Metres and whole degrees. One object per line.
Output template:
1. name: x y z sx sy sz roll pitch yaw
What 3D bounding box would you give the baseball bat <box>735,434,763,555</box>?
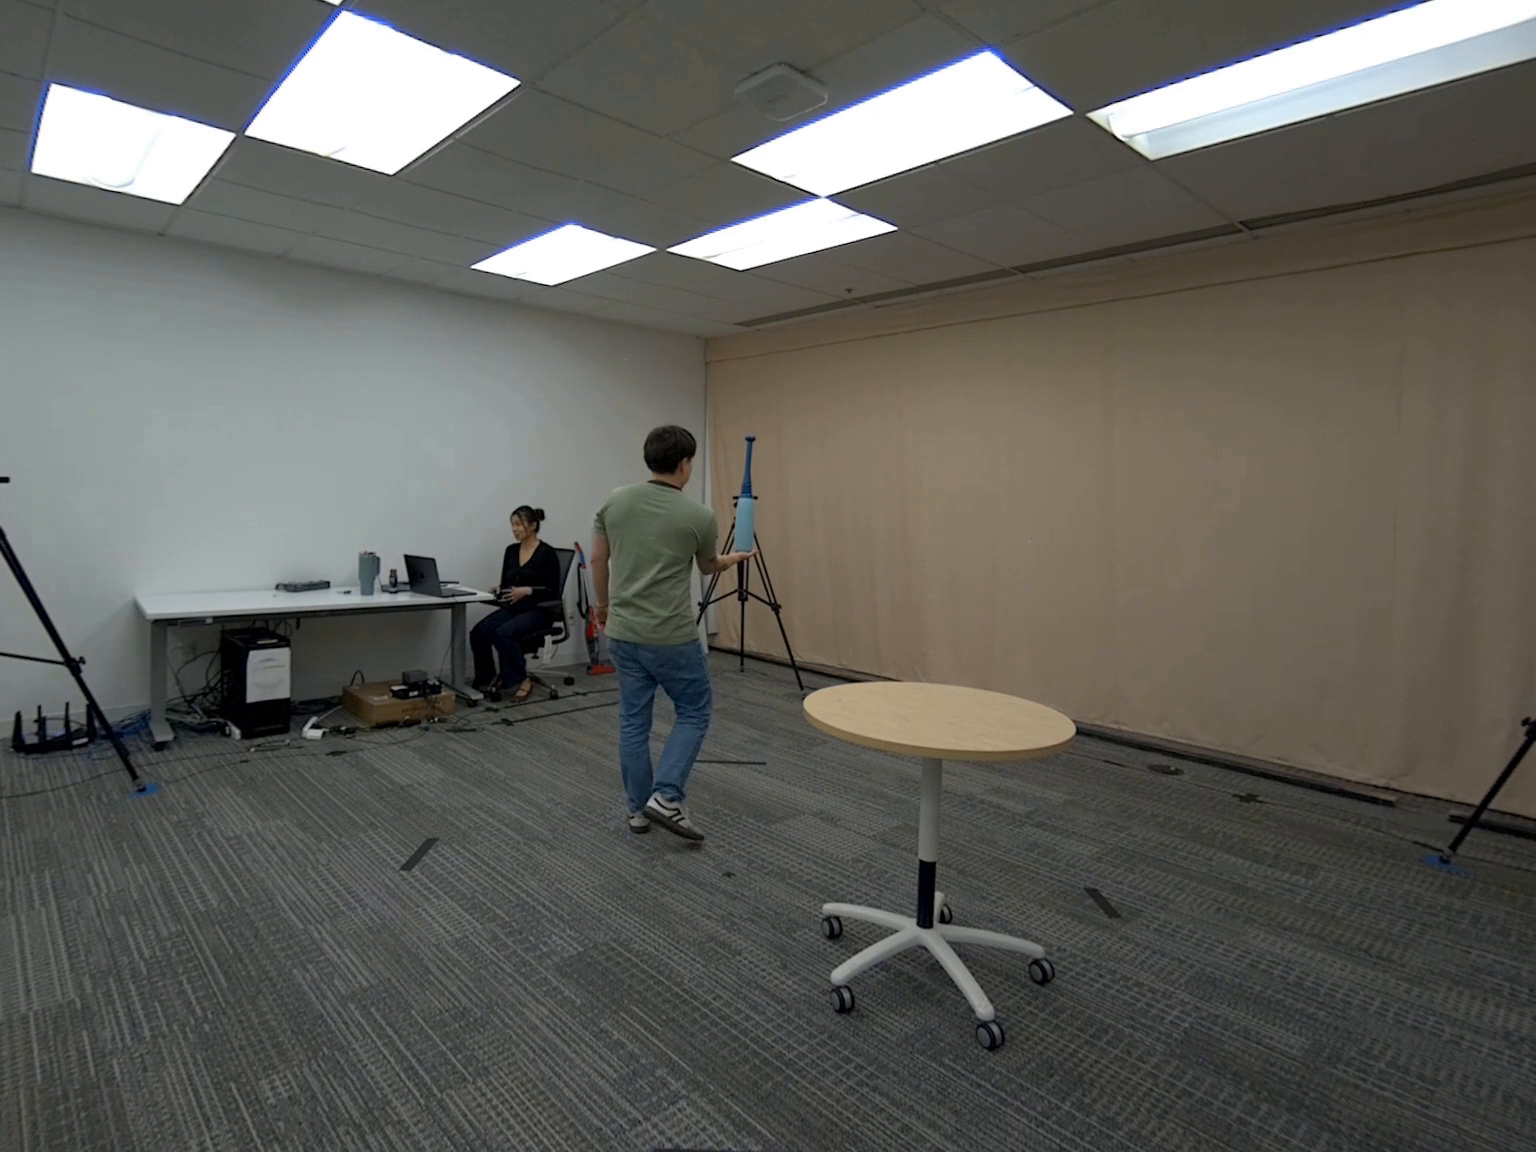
1. baseball bat: -0.090 -0.374 3.880 0.089 0.544 0.089 3 -2 -1
